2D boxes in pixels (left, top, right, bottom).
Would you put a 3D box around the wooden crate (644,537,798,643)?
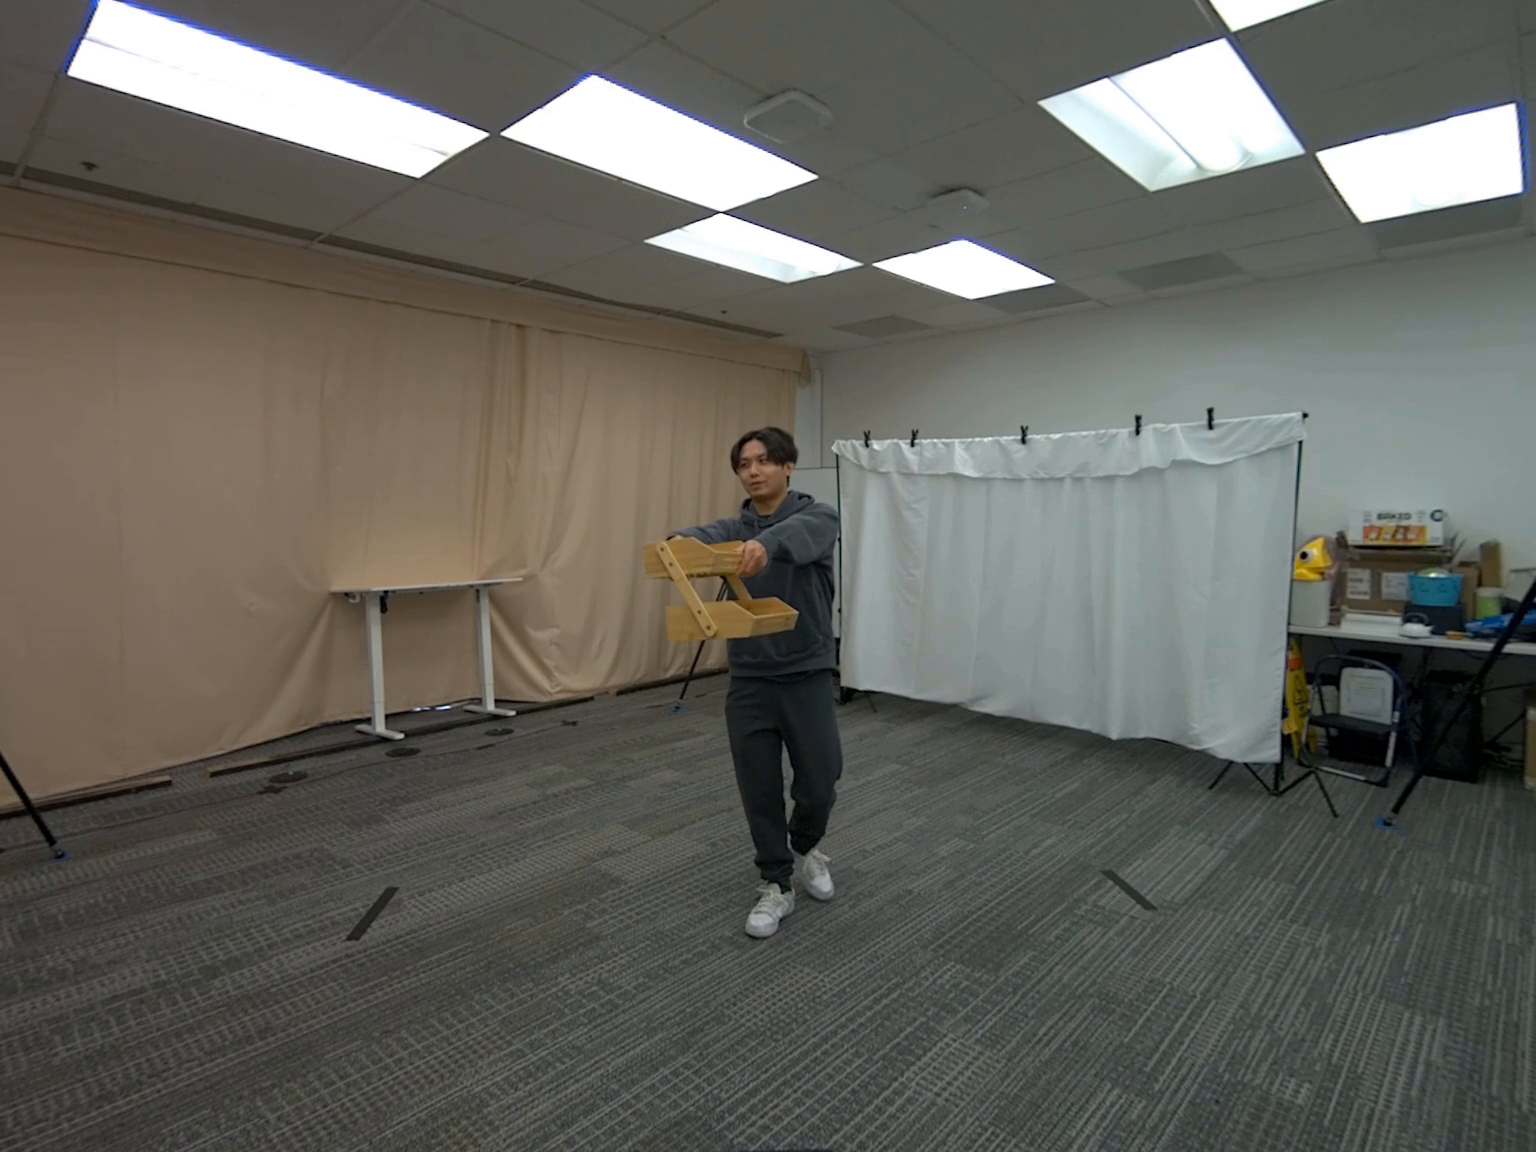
[{"bbox_3d":[-0.114,0.028,2.260,0.309,0.274,0.316,-5,-3,25],"label":"wooden crate"}]
